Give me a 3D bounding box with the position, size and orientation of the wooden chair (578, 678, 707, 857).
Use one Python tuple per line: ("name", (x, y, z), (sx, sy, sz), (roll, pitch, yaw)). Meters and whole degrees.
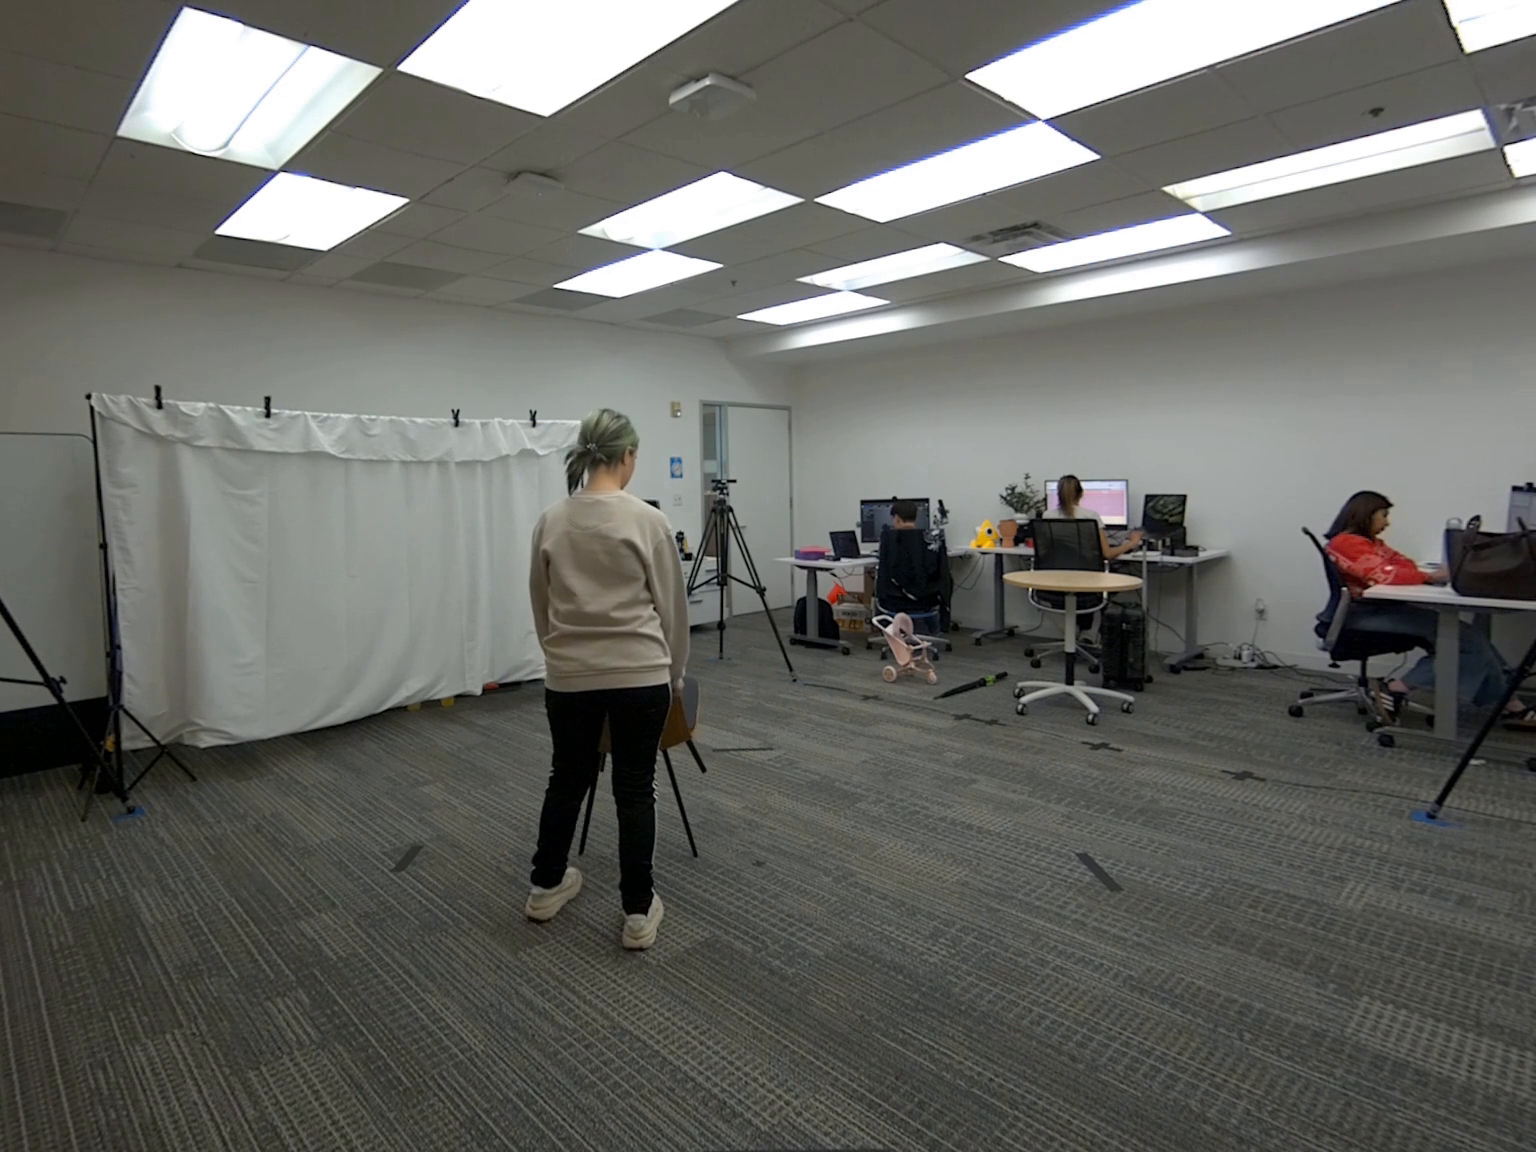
("wooden chair", (-0.492, 0.562, 3.200), (0.479, 0.855, 0.535), (-1, 33, 2))
